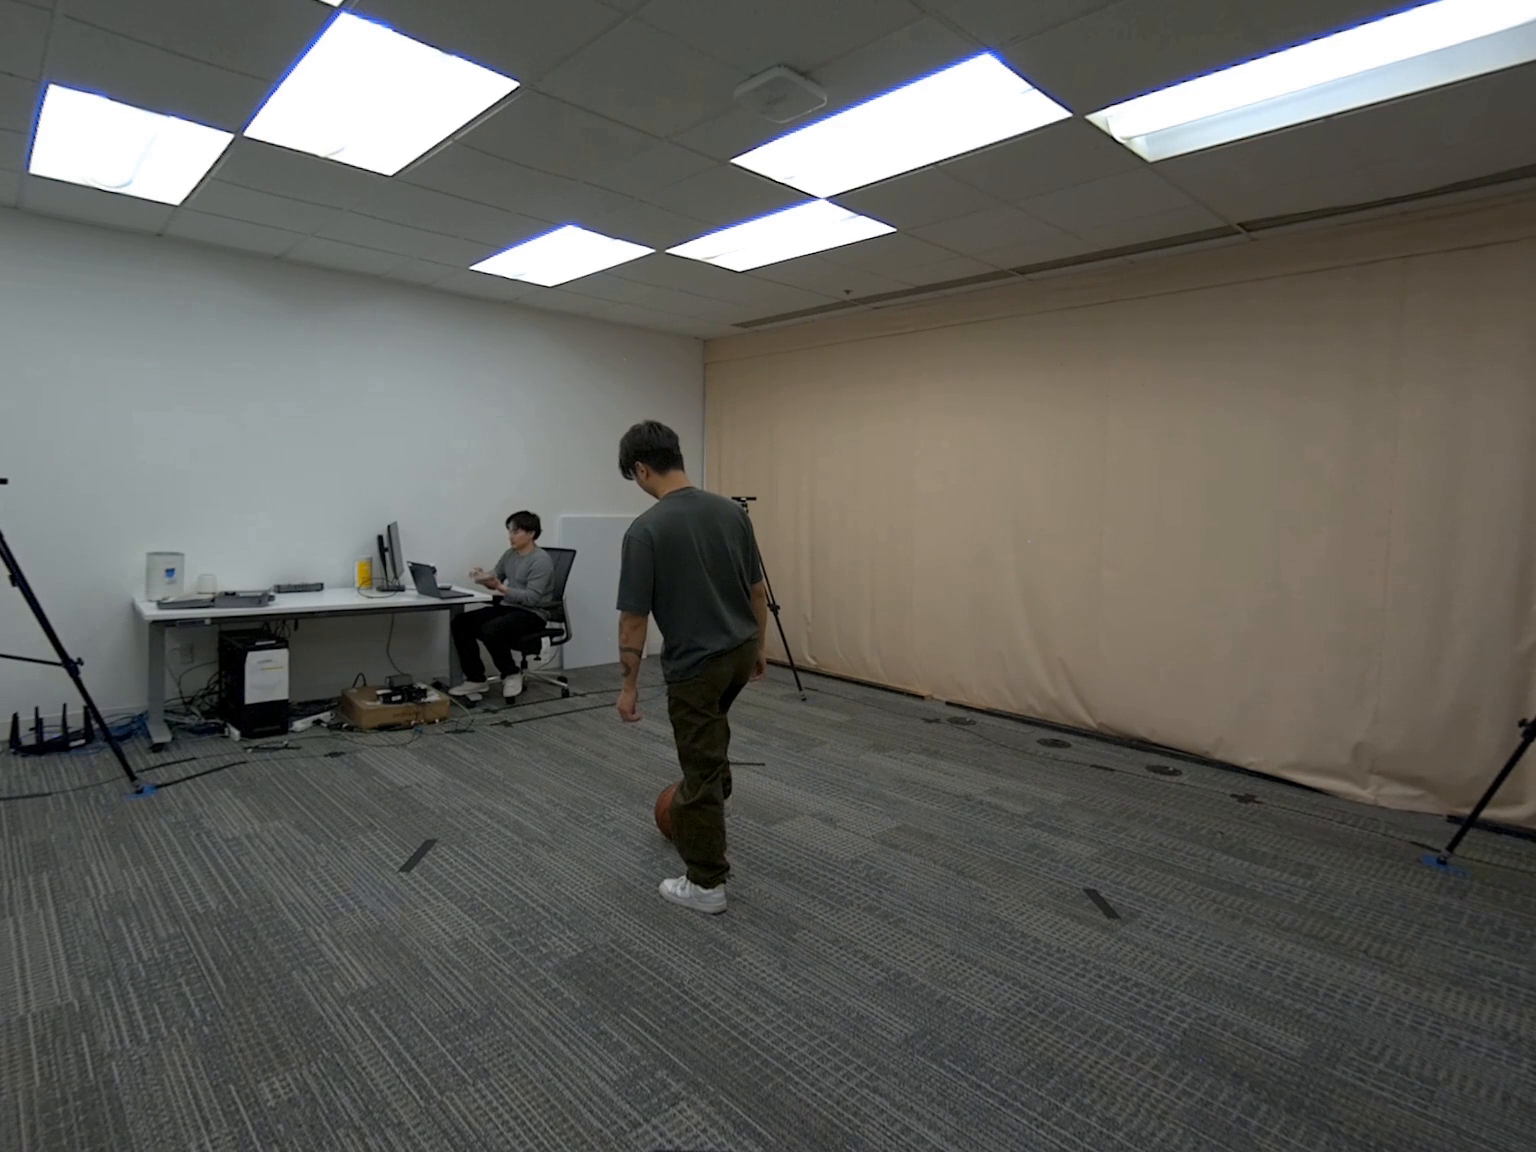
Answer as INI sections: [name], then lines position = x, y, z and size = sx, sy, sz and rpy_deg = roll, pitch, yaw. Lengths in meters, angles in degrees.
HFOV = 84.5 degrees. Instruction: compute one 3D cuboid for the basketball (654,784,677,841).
[basketball]
position = -0.346, 0.956, 3.409
size = 0.236, 0.235, 0.237
rpy_deg = 1, 4, -1
